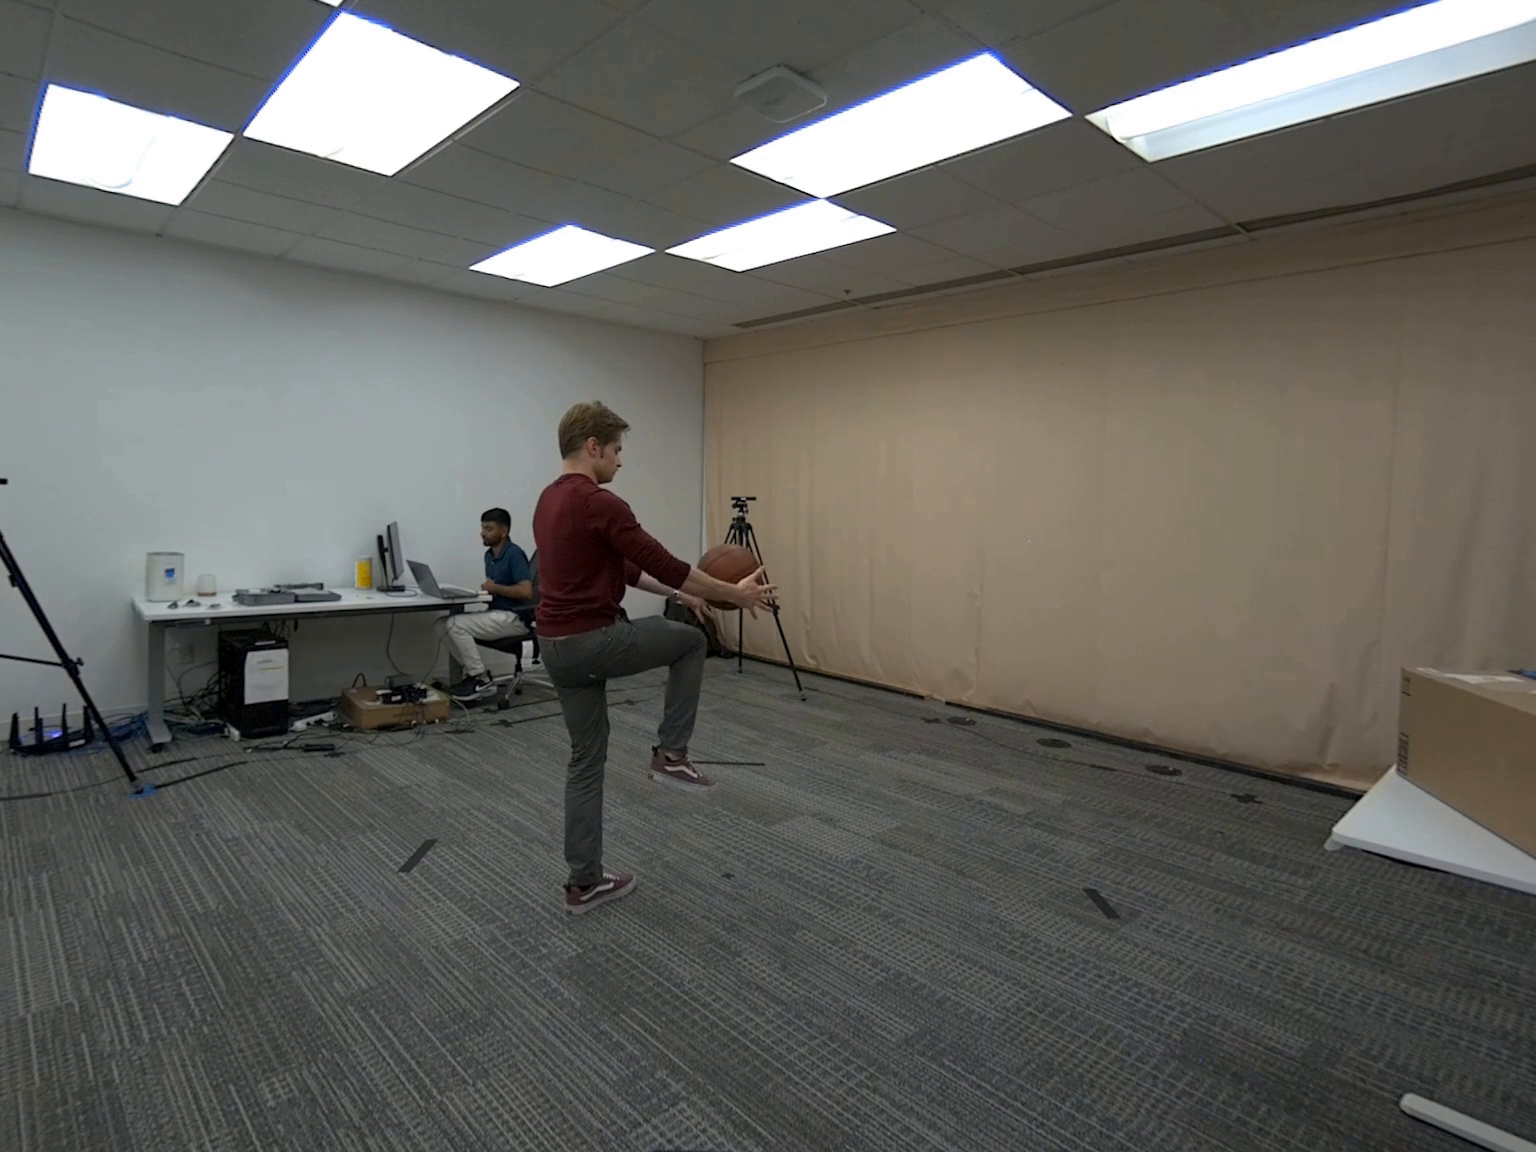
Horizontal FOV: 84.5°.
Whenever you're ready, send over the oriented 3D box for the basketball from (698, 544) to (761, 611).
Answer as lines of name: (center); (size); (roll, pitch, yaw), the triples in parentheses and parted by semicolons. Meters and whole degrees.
basketball: (-0.175, -0.005, 3.013); (0.236, 0.235, 0.237); (1, 4, -1)
